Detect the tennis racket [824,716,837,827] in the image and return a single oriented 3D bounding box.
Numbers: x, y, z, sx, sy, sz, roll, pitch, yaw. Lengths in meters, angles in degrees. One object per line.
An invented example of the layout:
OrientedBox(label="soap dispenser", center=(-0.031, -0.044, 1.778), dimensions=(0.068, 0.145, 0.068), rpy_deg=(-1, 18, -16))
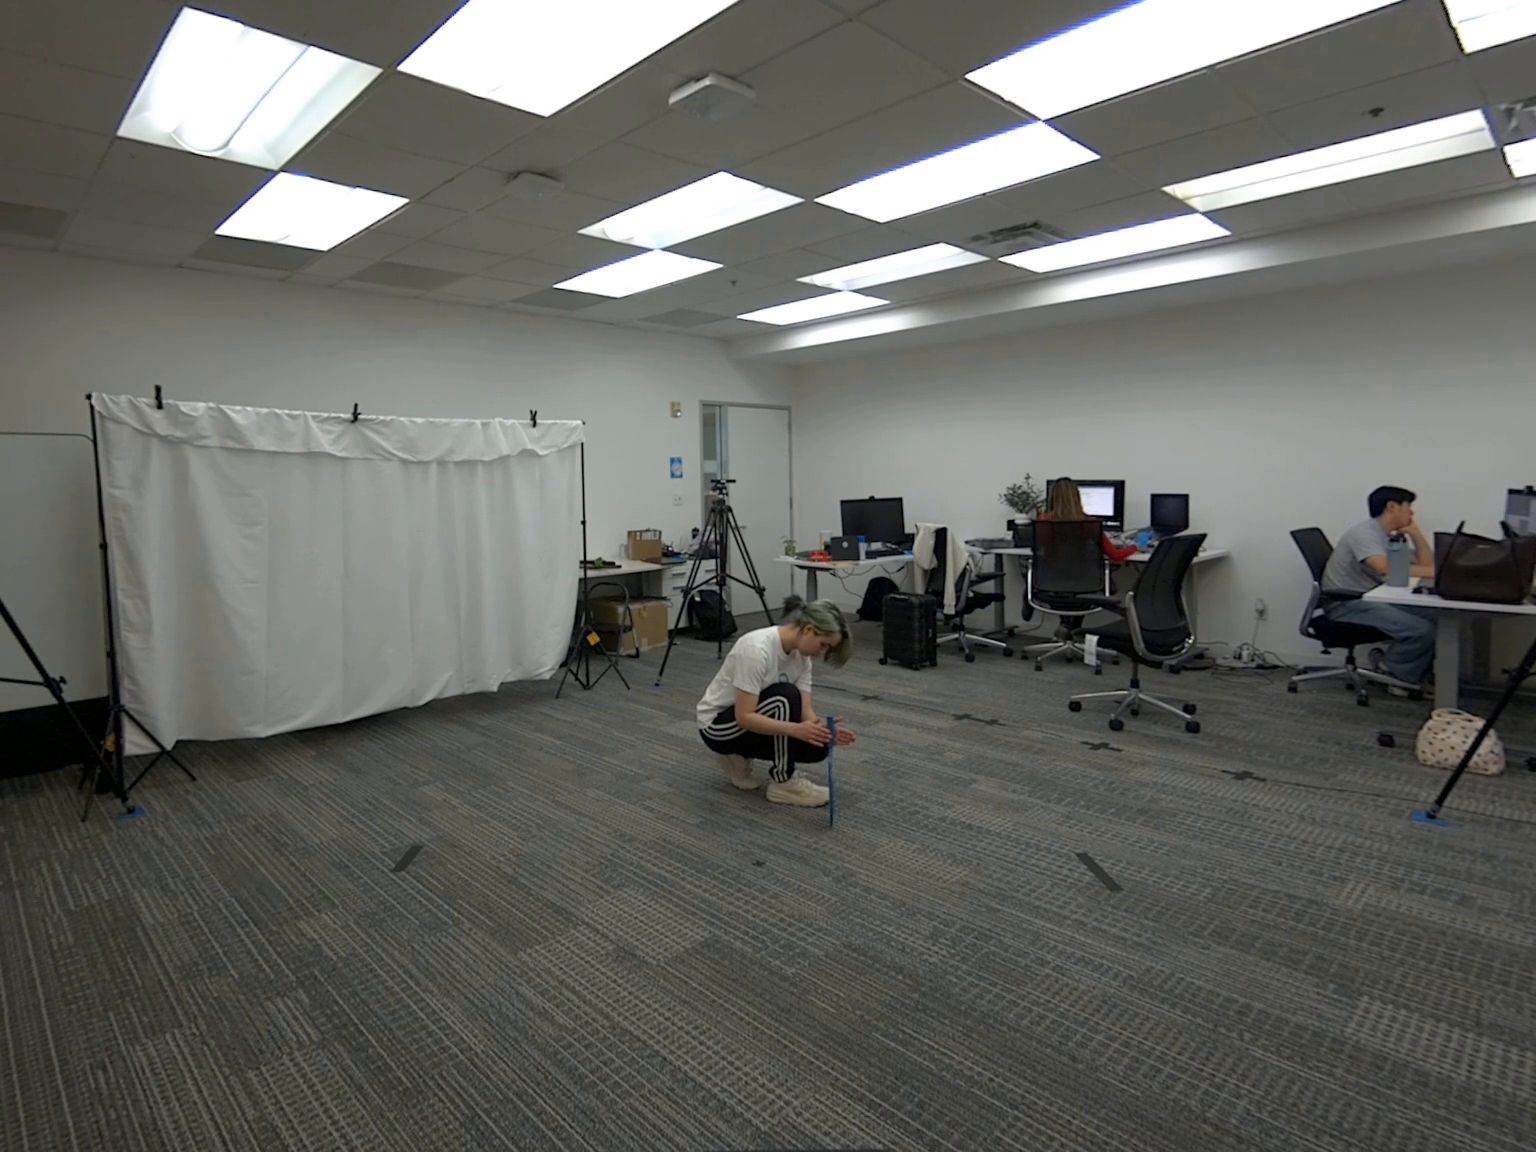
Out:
OrientedBox(label="tennis racket", center=(0.255, 0.794, 3.459), dimensions=(0.032, 0.433, 0.213), rpy_deg=(-1, 0, 2))
